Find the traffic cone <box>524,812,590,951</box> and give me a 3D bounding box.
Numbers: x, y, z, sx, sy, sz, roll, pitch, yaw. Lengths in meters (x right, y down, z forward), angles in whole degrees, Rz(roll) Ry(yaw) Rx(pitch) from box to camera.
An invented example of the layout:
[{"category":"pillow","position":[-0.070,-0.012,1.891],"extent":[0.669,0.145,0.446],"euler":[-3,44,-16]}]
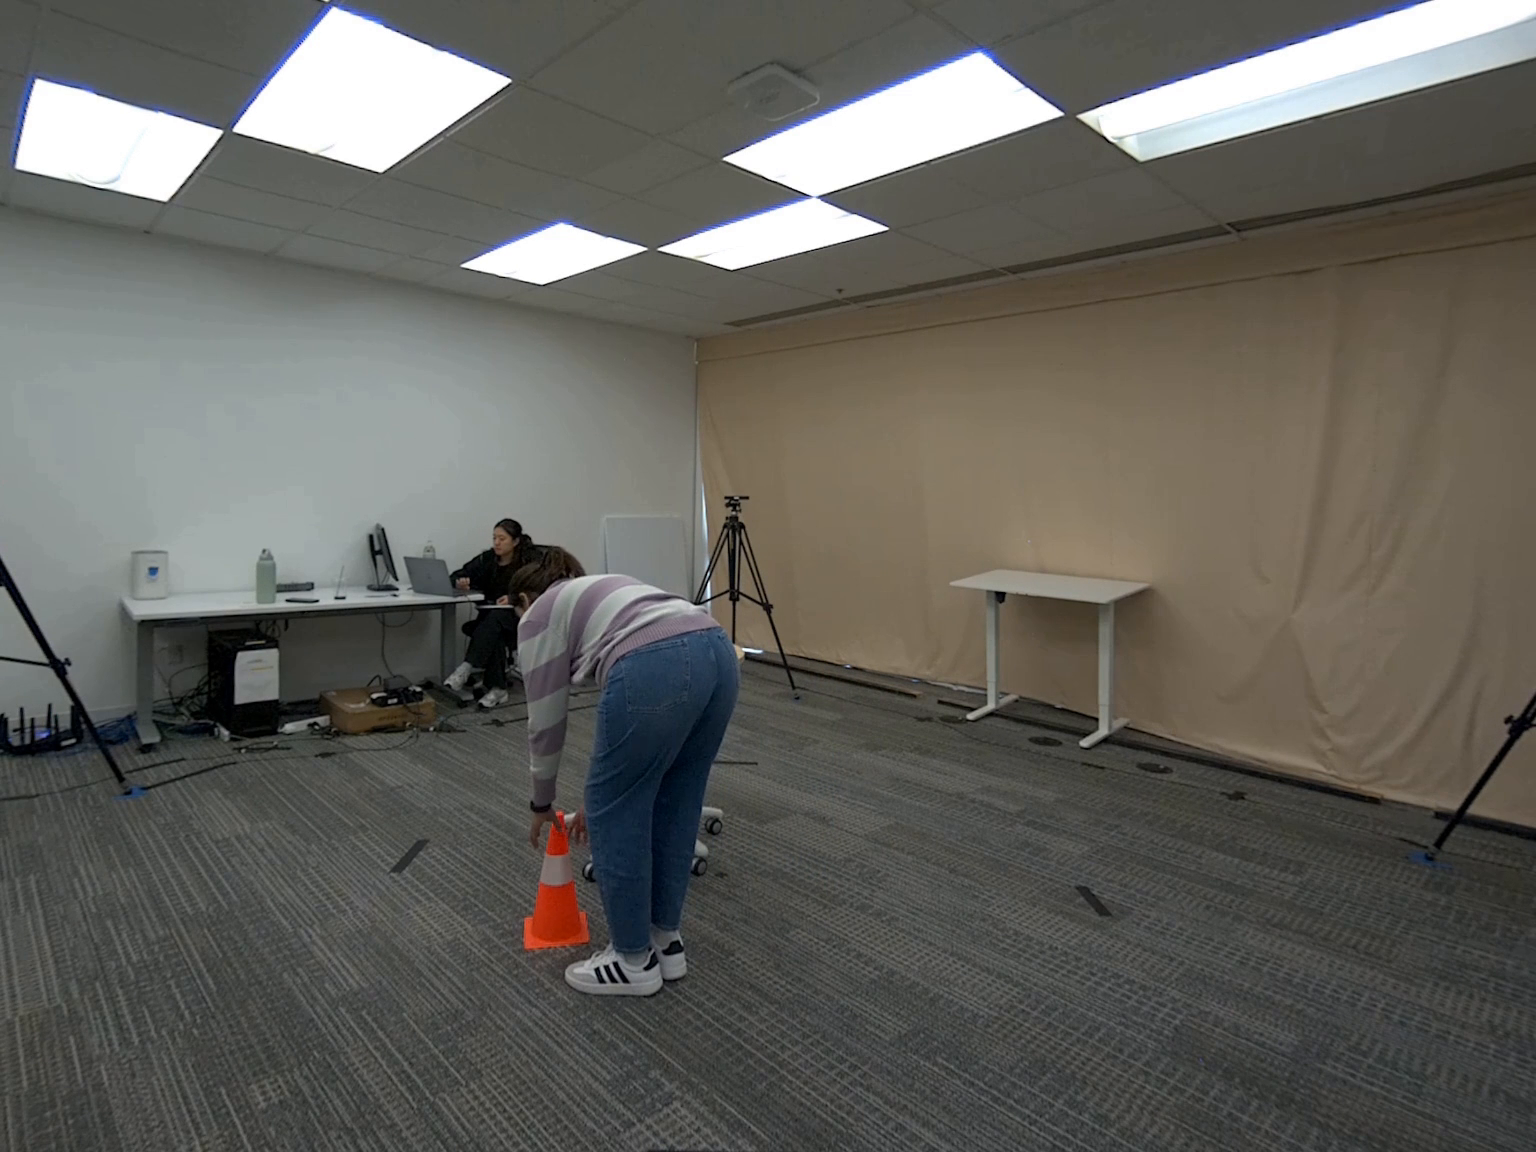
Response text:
[{"category":"traffic cone","position":[-0.685,0.951,2.672],"extent":[0.202,0.383,0.206],"euler":[-1,4,-17]}]
